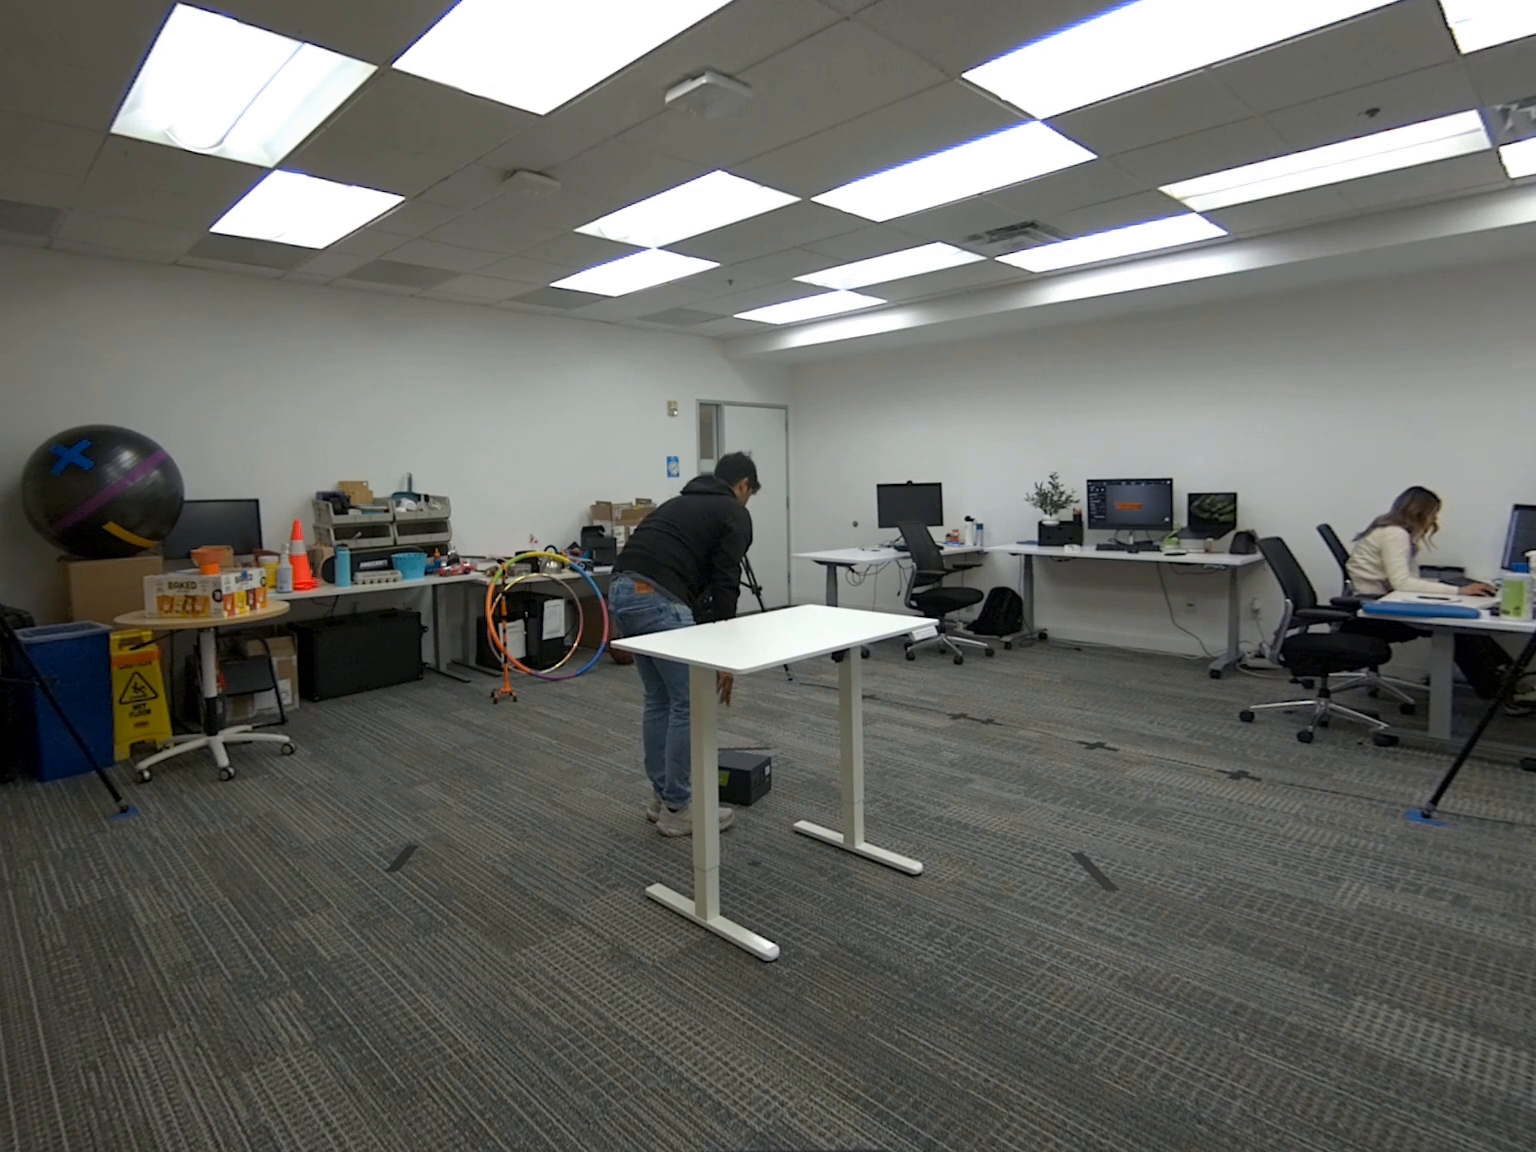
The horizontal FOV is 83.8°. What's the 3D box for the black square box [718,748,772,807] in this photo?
[{"bbox_3d":[-0.131,0.884,3.782,0.233,0.155,0.213,2,6,26],"label":"black square box"}]
